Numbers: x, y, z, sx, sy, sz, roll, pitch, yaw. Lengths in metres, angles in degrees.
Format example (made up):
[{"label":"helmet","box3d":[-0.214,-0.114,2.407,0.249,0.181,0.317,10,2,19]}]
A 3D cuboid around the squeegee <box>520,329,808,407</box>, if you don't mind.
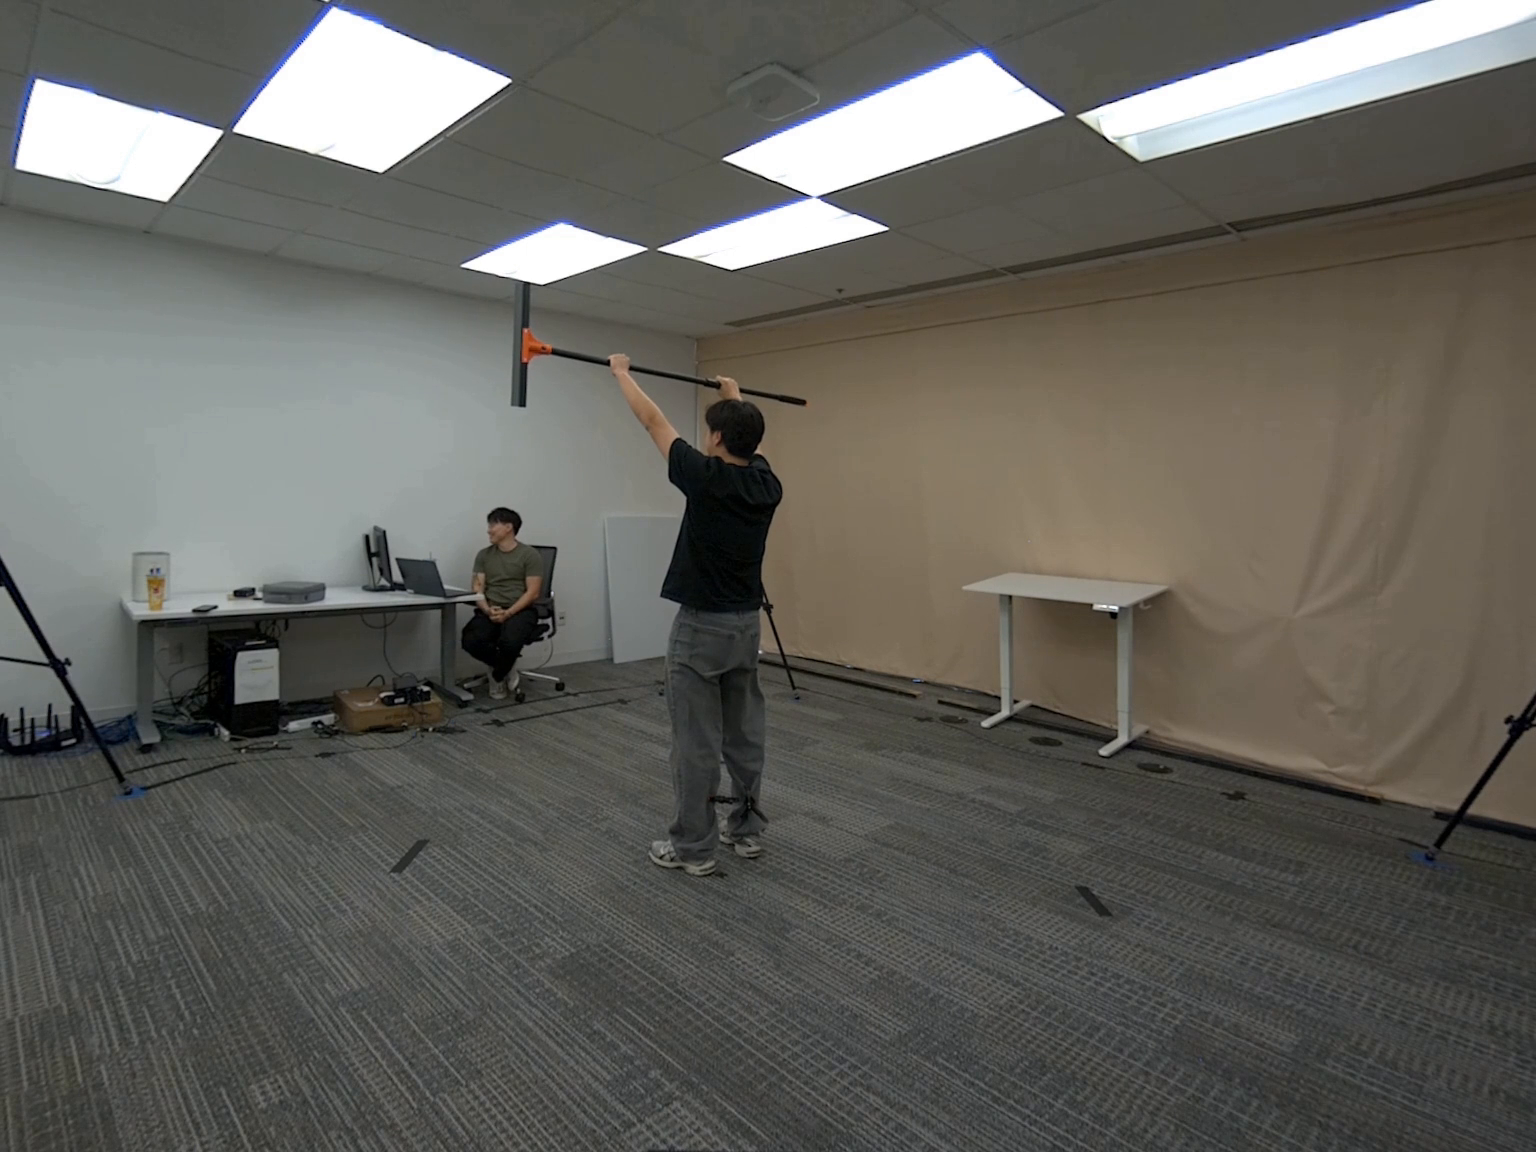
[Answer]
[{"label":"squeegee","box3d":[-0.353,-0.816,3.478,1.501,0.437,0.054,0,3,-44]}]
